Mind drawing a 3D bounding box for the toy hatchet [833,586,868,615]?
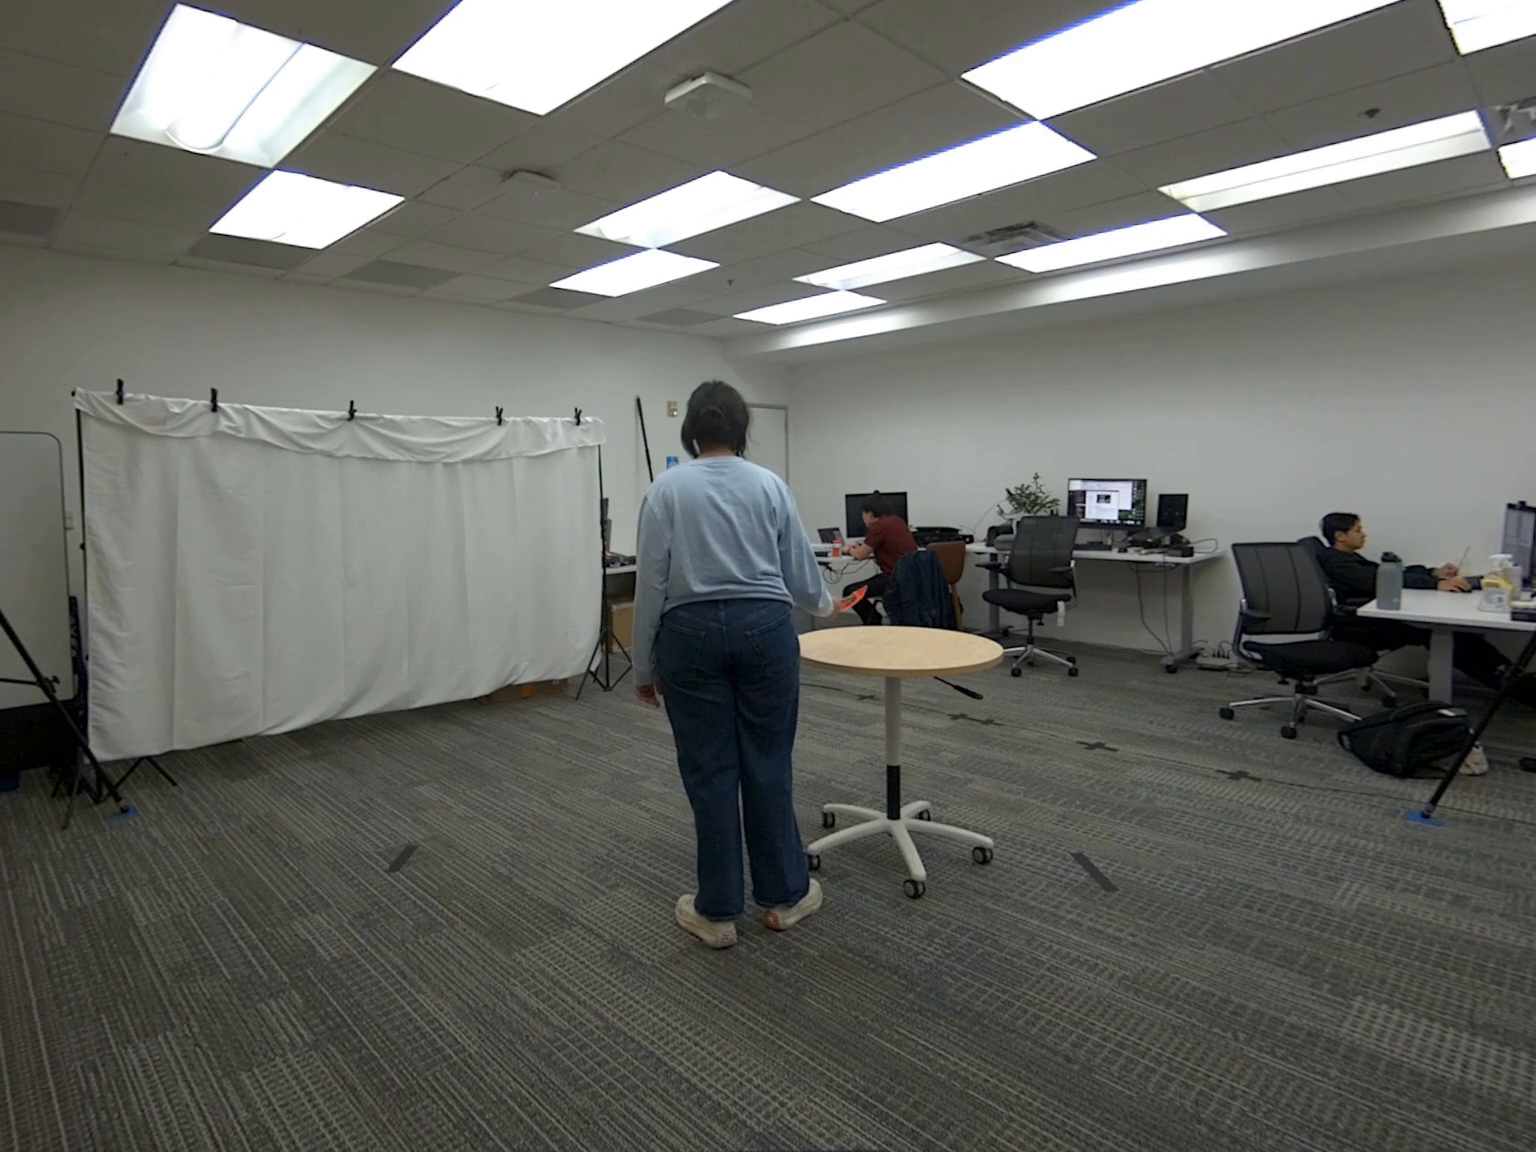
[{"bbox_3d":[0.245,0.115,3.048,0.266,0.030,0.130,-28,-17,-39],"label":"toy hatchet"}]
